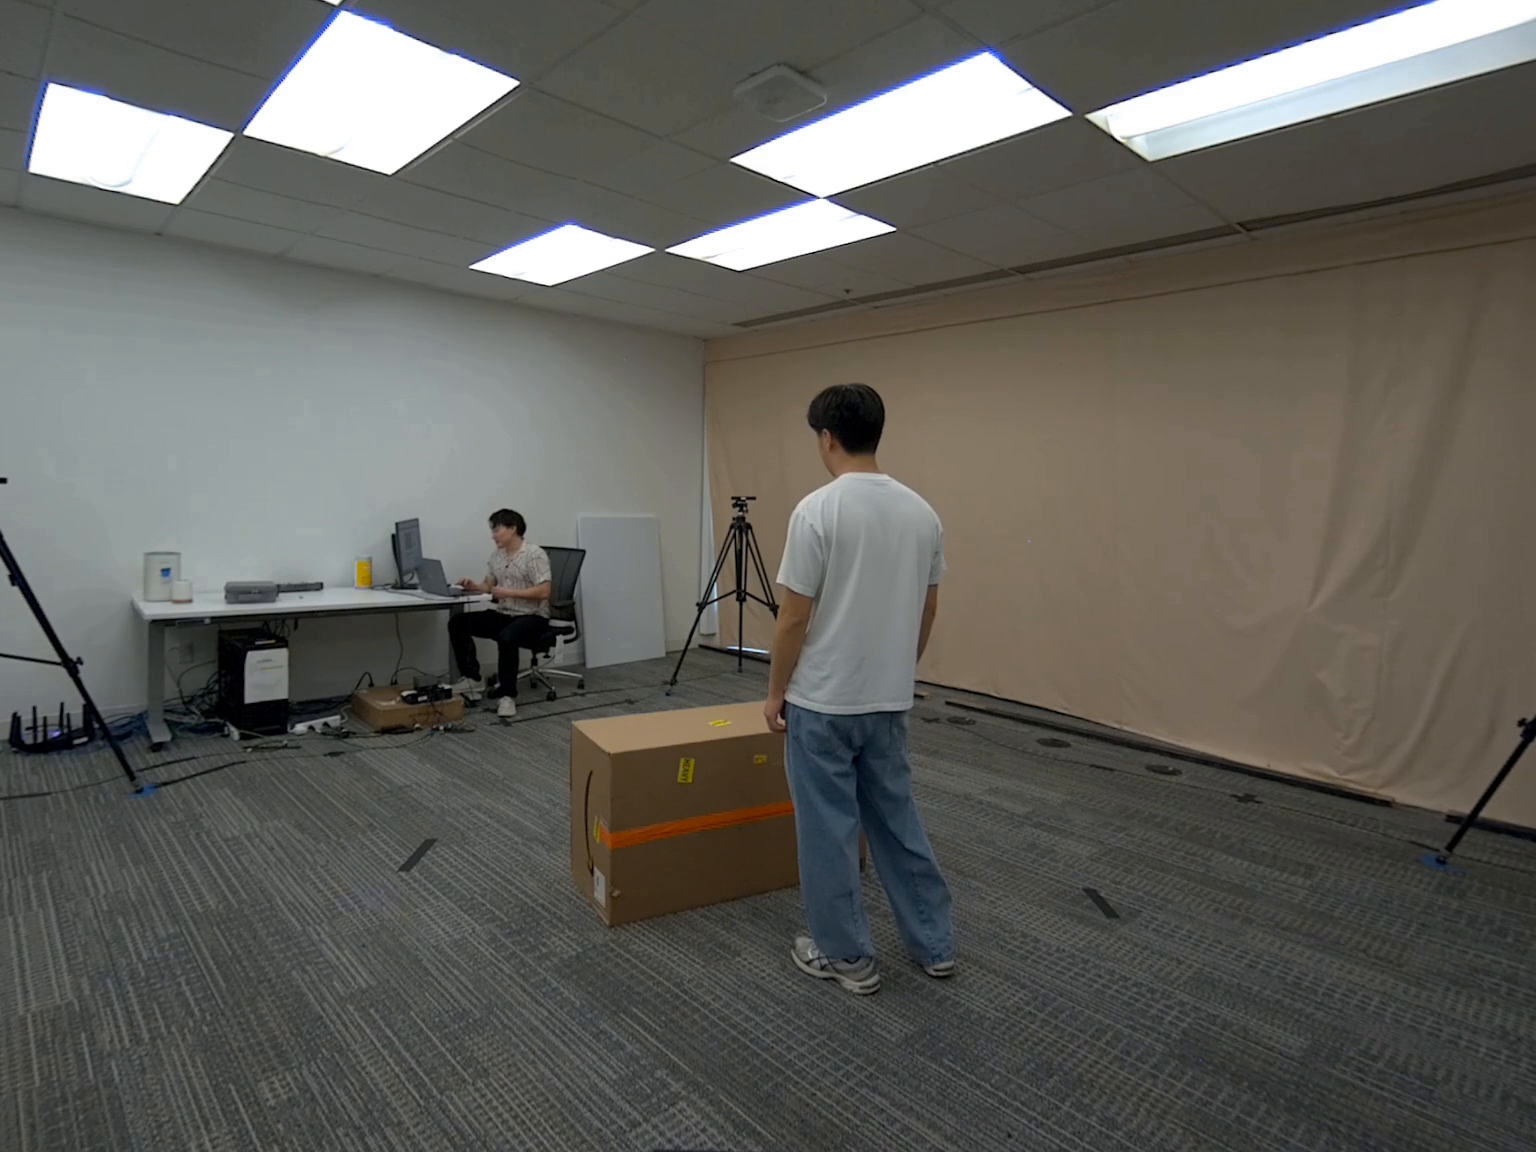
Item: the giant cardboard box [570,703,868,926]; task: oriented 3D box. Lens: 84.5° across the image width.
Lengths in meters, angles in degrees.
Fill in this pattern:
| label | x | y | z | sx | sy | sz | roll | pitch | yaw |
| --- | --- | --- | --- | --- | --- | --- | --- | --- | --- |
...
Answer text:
| label | x | y | z | sx | sy | sz | roll | pitch | yaw |
| --- | --- | --- | --- | --- | --- | --- | --- | --- | --- |
| giant cardboard box | -0.175 | 0.816 | 3.106 | 1.006 | 0.576 | 0.435 | -1 | 4 | -28 |
